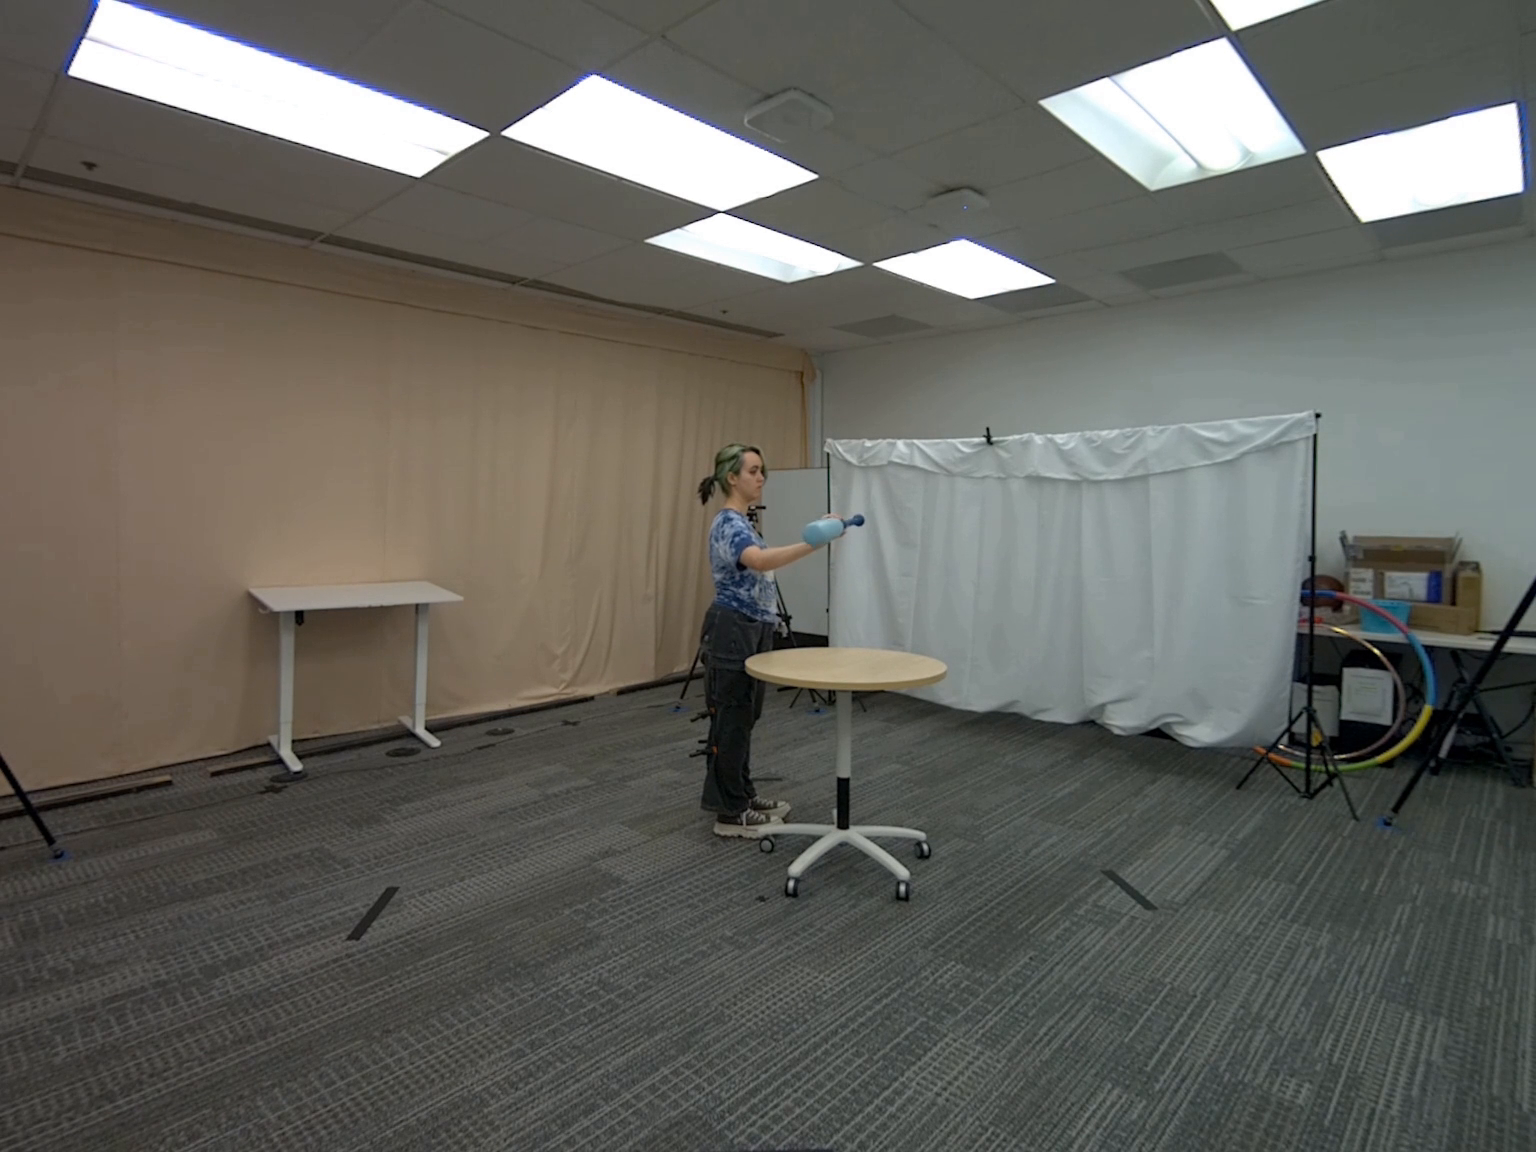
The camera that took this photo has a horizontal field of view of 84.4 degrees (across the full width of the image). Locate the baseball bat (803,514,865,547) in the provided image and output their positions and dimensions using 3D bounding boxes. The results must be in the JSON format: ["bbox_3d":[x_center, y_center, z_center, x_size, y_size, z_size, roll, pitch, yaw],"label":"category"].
[{"bbox_3d":[0.272,-0.188,3.243,0.091,0.088,0.533,2,10,23],"label":"baseball bat"}]
